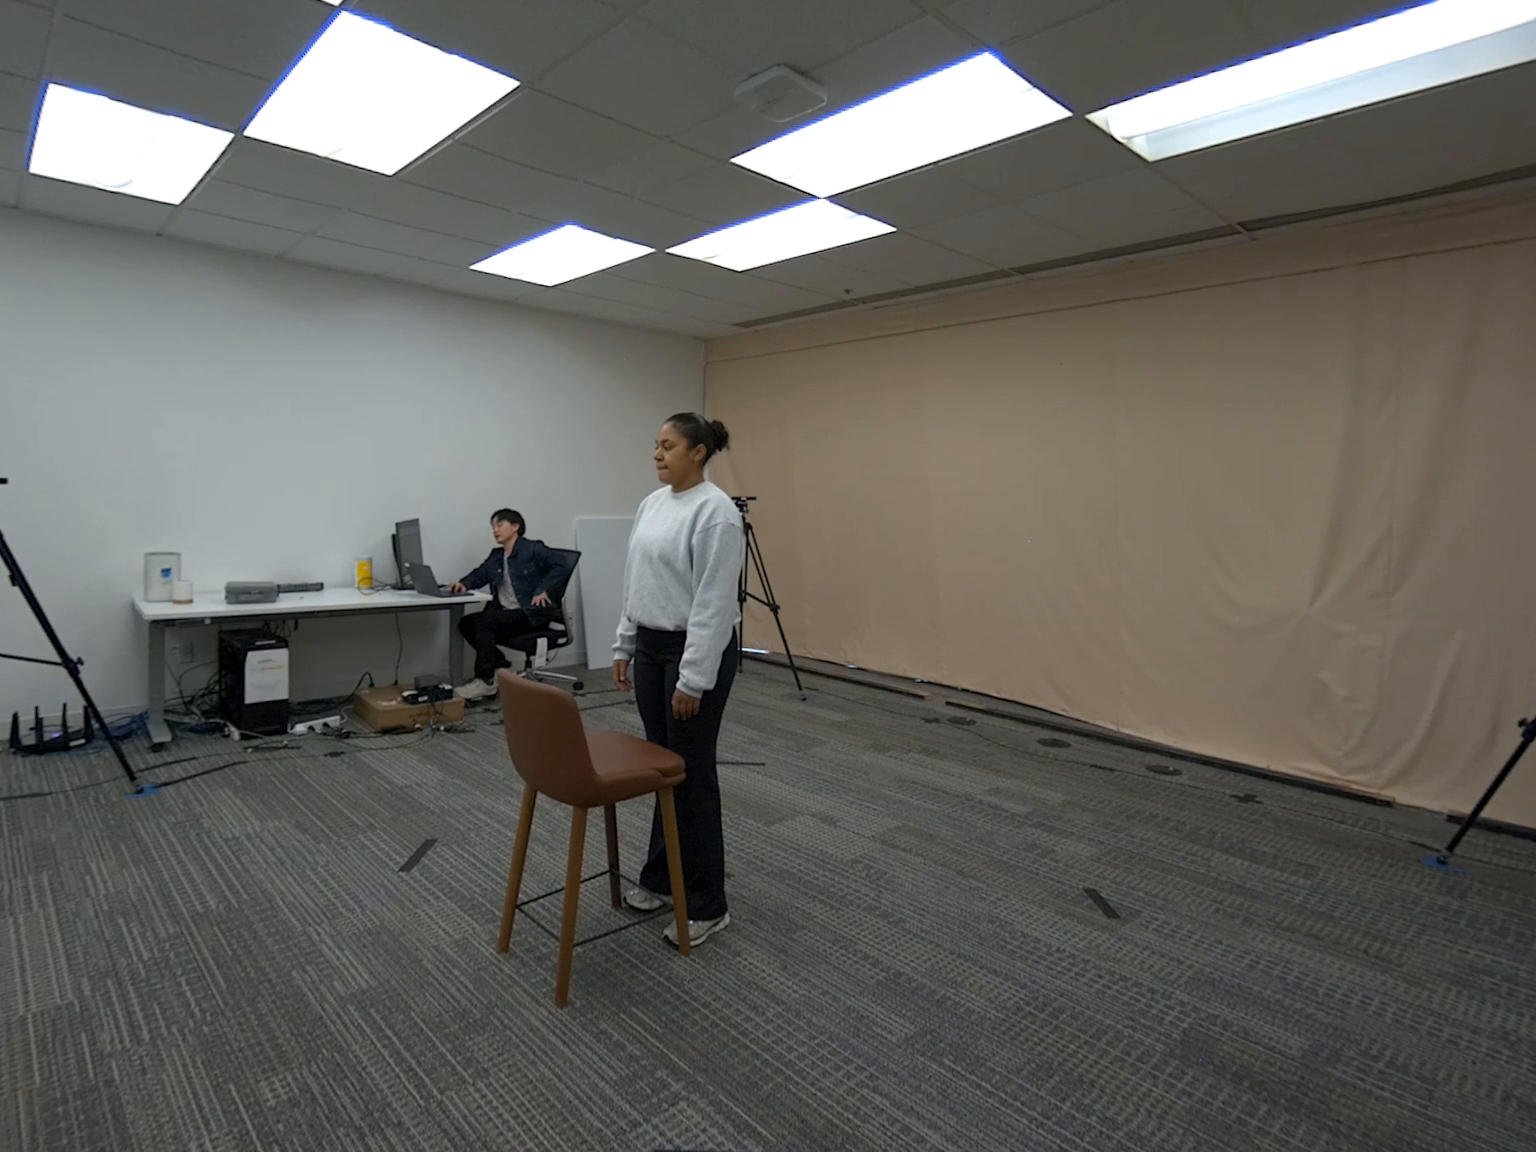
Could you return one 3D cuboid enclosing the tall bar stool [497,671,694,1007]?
[{"bbox_3d":[-0.537,0.711,2.538,0.457,0.887,0.468,-4,6,-42],"label":"tall bar stool"}]
